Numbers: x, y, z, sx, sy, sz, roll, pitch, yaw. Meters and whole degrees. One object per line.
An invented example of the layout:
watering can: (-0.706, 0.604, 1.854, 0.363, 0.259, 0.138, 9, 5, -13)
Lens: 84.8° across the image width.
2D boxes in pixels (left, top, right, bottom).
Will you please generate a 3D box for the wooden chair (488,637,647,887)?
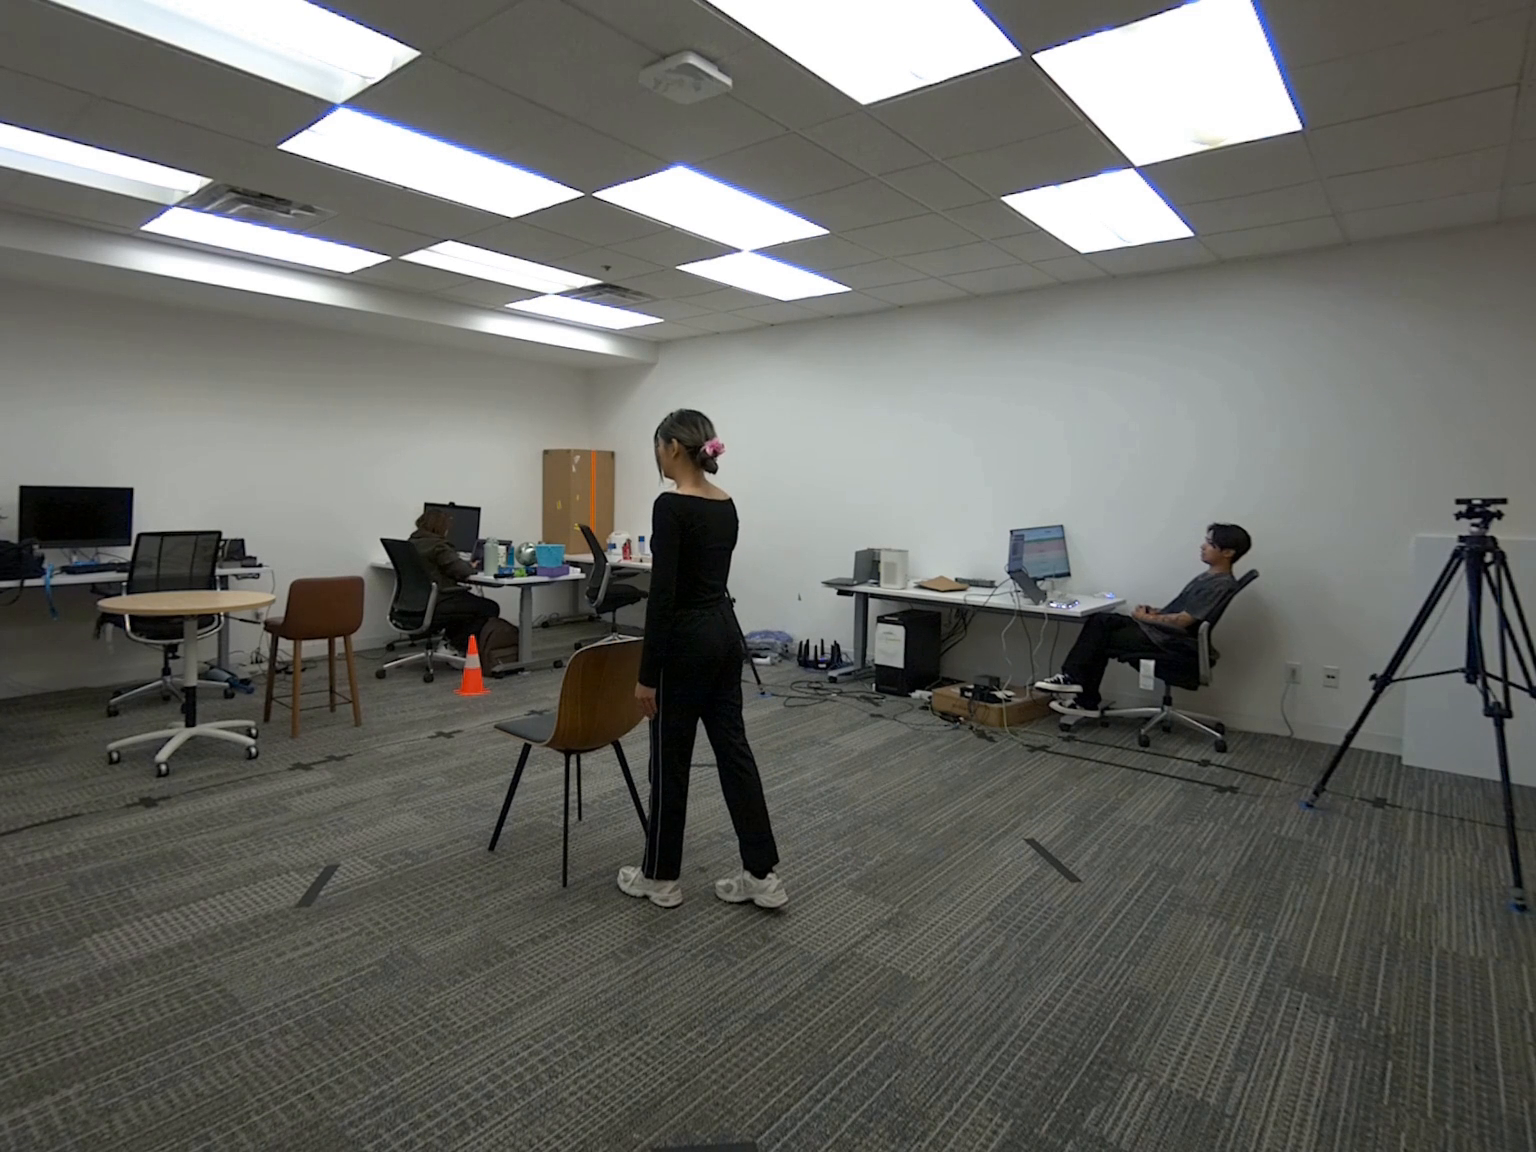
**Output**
wooden chair: (-0.760, 0.621, 3.235, 0.542, 0.873, 0.464, 10, 8, 39)
